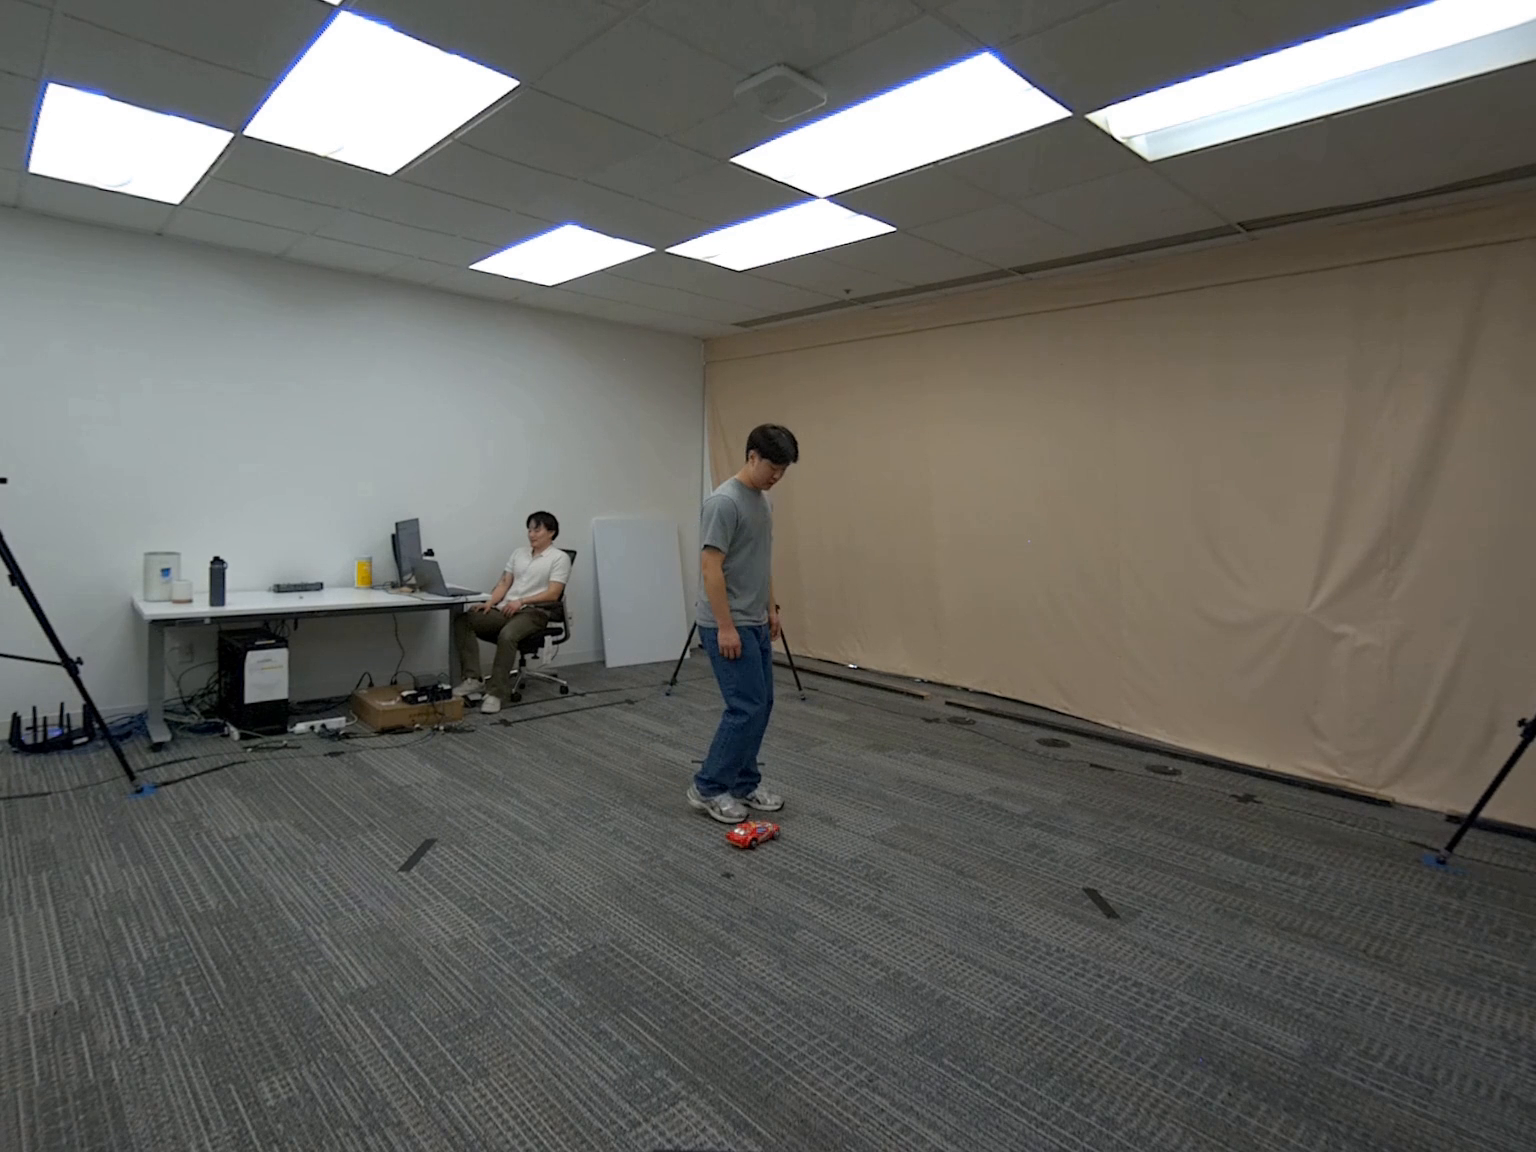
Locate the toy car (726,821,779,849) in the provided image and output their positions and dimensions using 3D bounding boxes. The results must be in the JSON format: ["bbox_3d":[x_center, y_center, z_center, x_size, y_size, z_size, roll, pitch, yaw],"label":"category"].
[{"bbox_3d":[-0.079,1.049,3.415,0.134,0.083,0.247,6,-4,44],"label":"toy car"}]
